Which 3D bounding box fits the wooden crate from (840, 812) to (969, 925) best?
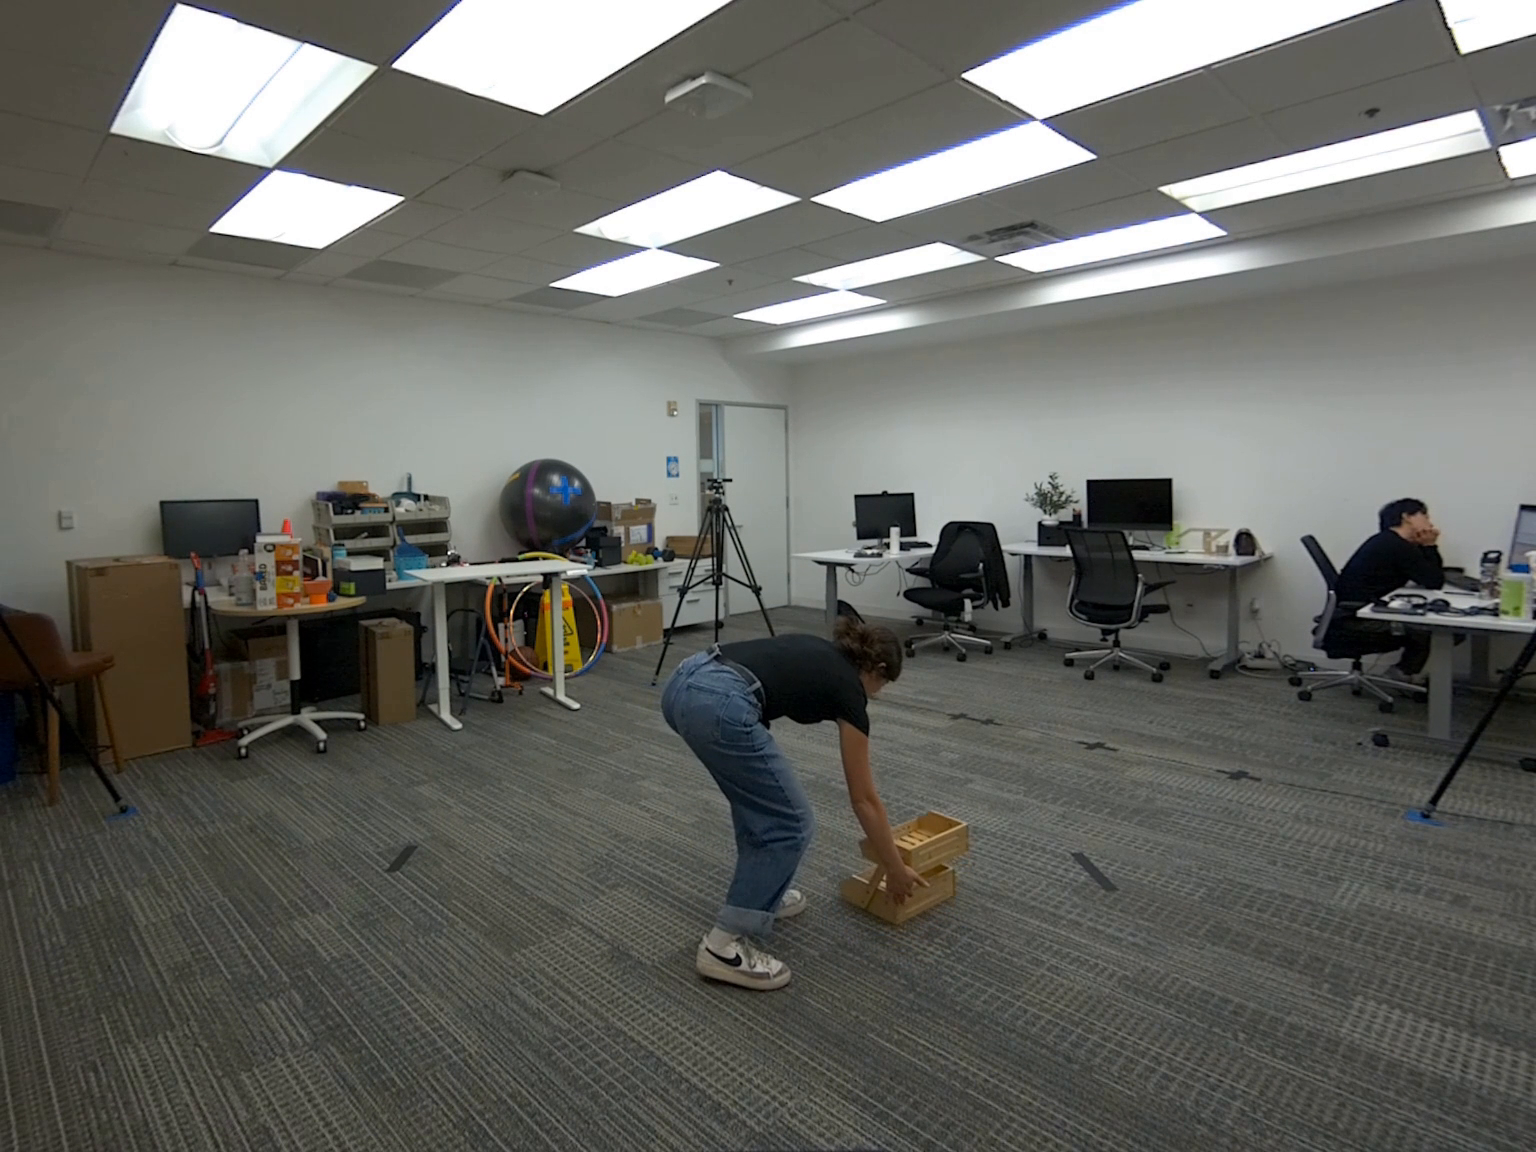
[{"bbox_3d":[0.447,0.934,2.819,0.316,0.272,0.311,-6,7,-41],"label":"wooden crate"}]
